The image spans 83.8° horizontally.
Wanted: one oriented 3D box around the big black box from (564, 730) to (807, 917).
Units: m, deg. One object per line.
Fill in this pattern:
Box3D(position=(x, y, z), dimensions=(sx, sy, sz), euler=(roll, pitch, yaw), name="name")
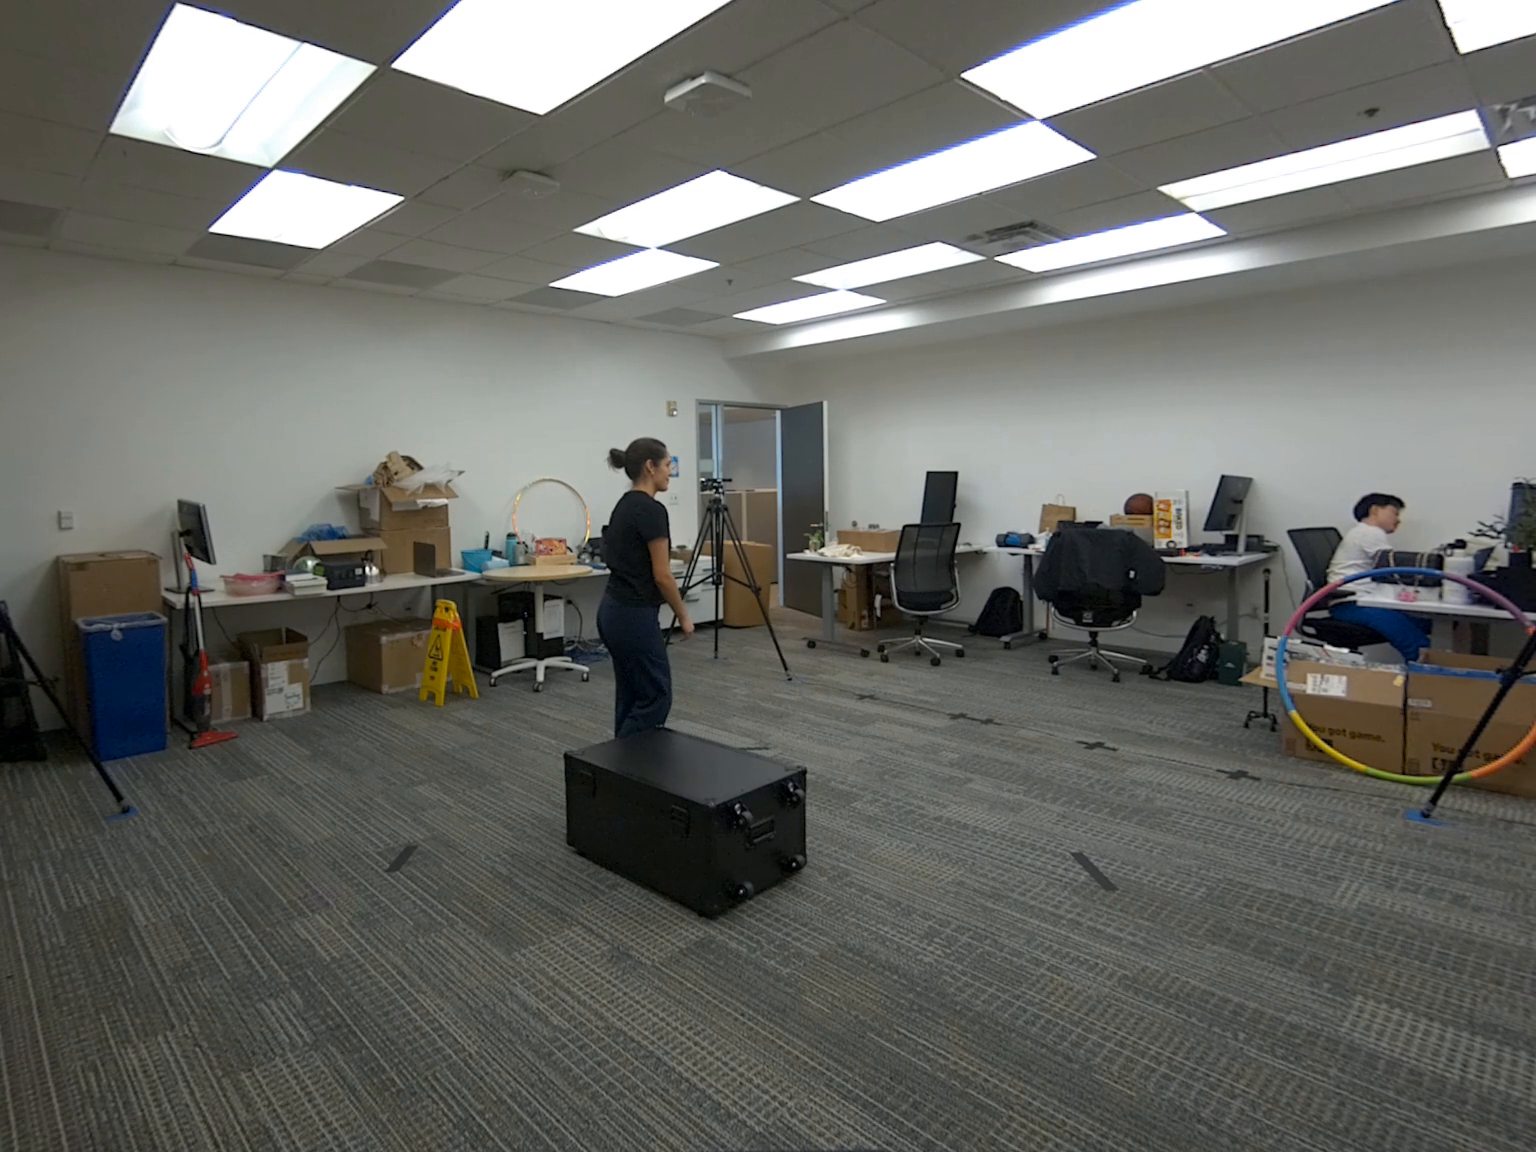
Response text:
Box3D(position=(-0.294, 0.859, 3.106), dimensions=(0.887, 0.395, 0.508), euler=(3, 7, 42), name="big black box")
